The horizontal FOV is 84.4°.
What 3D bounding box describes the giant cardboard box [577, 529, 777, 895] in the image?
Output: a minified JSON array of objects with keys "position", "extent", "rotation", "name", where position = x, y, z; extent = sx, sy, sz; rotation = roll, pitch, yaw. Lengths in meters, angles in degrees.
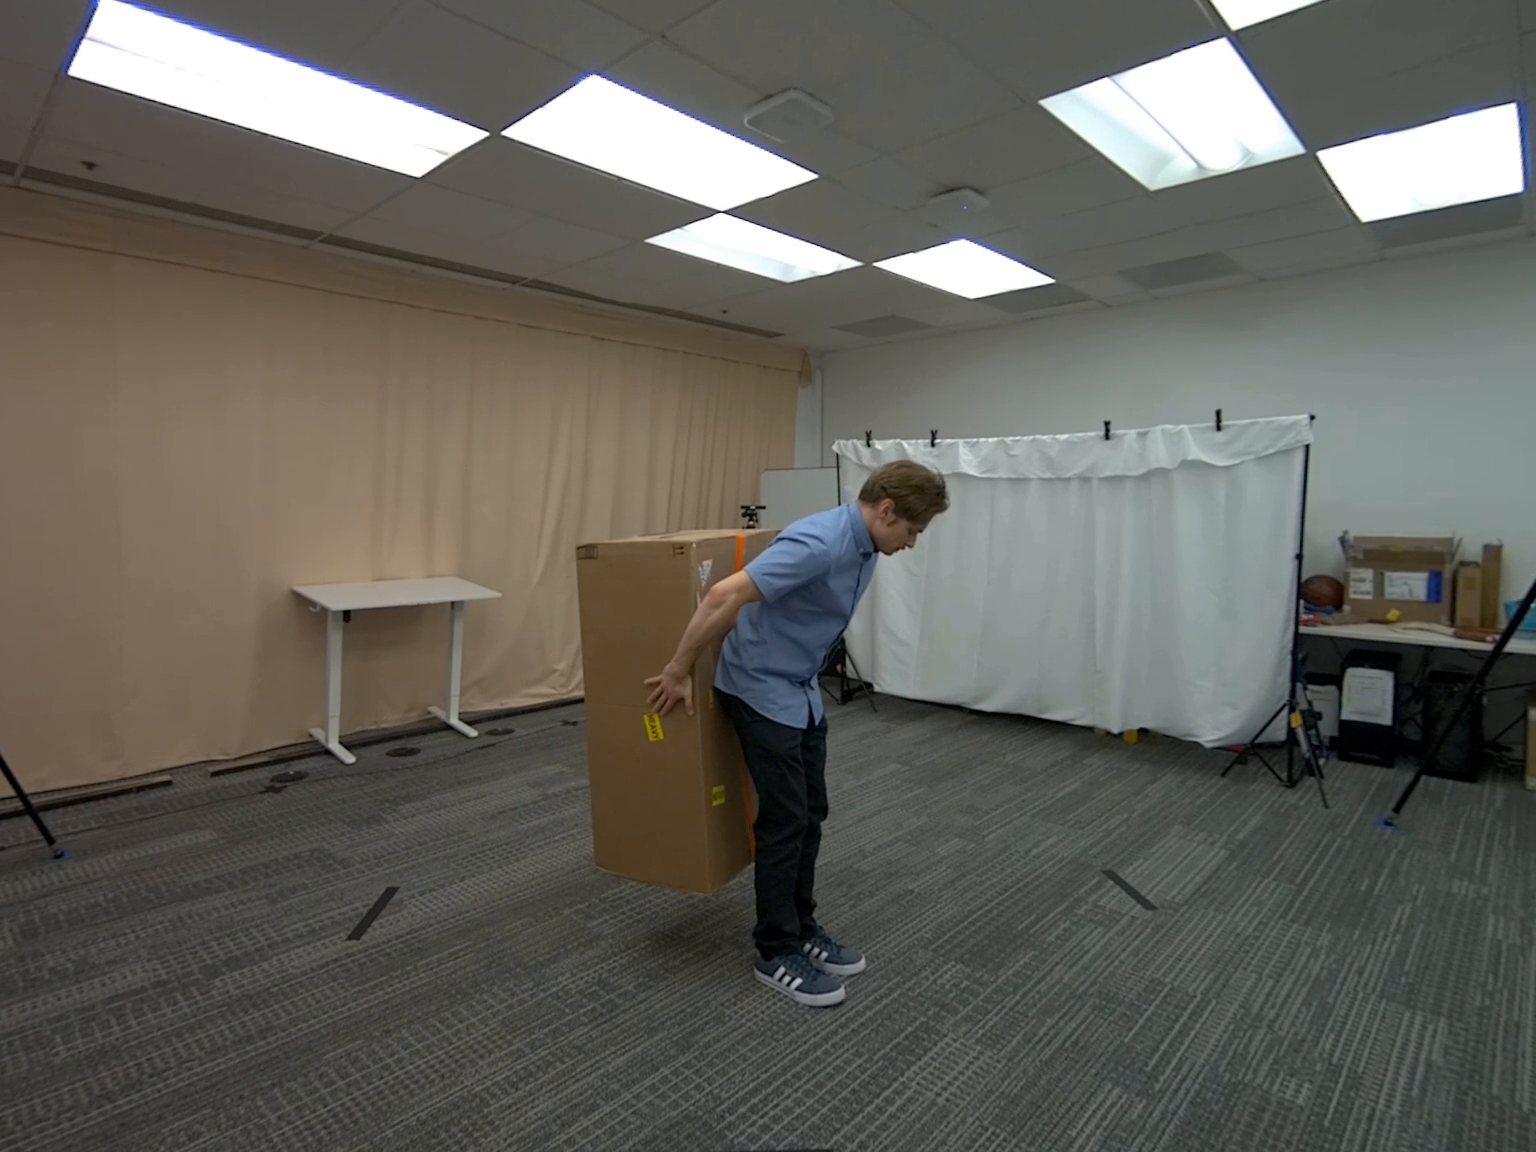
[{"position":[-0.246,0.386,2.716],"extent":[0.459,1.025,0.569],"rotation":[-2,3,29],"name":"giant cardboard box"}]
